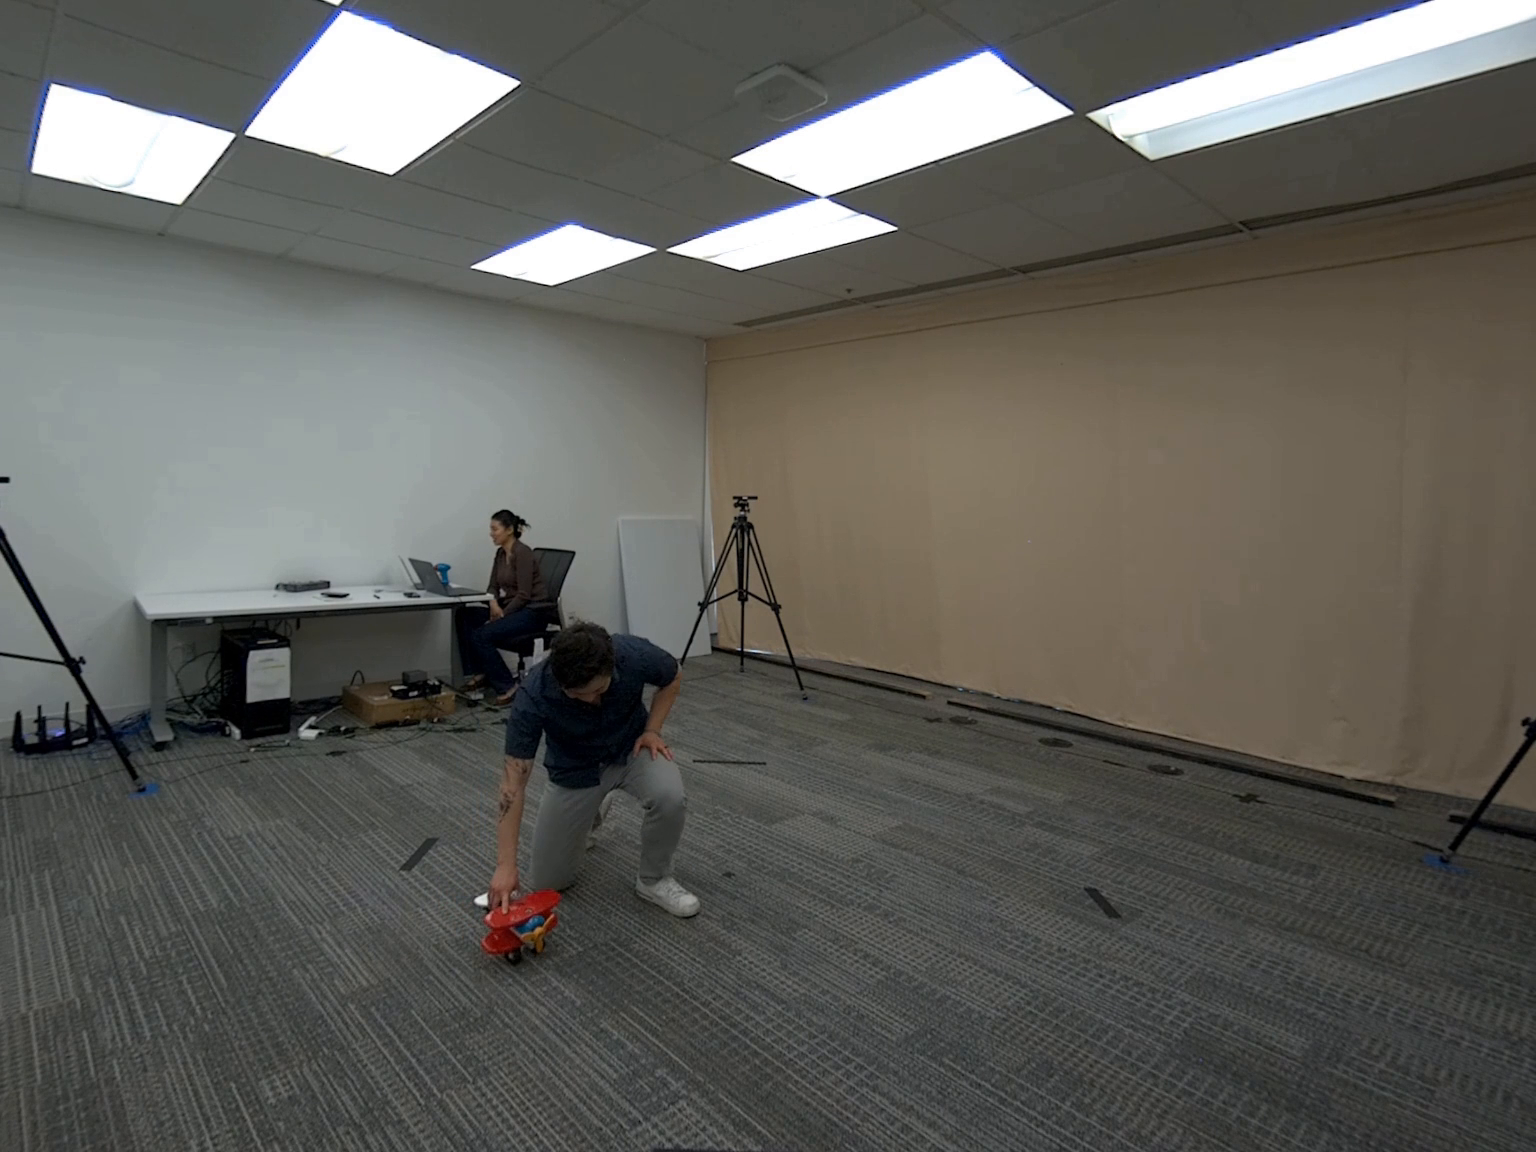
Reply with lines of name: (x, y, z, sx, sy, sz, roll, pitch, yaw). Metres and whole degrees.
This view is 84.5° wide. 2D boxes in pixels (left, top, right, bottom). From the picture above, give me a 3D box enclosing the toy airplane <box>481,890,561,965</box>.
toy airplane: (-0.791, 1.047, 2.533, 0.261, 0.155, 0.251, 23, 20, 5)
